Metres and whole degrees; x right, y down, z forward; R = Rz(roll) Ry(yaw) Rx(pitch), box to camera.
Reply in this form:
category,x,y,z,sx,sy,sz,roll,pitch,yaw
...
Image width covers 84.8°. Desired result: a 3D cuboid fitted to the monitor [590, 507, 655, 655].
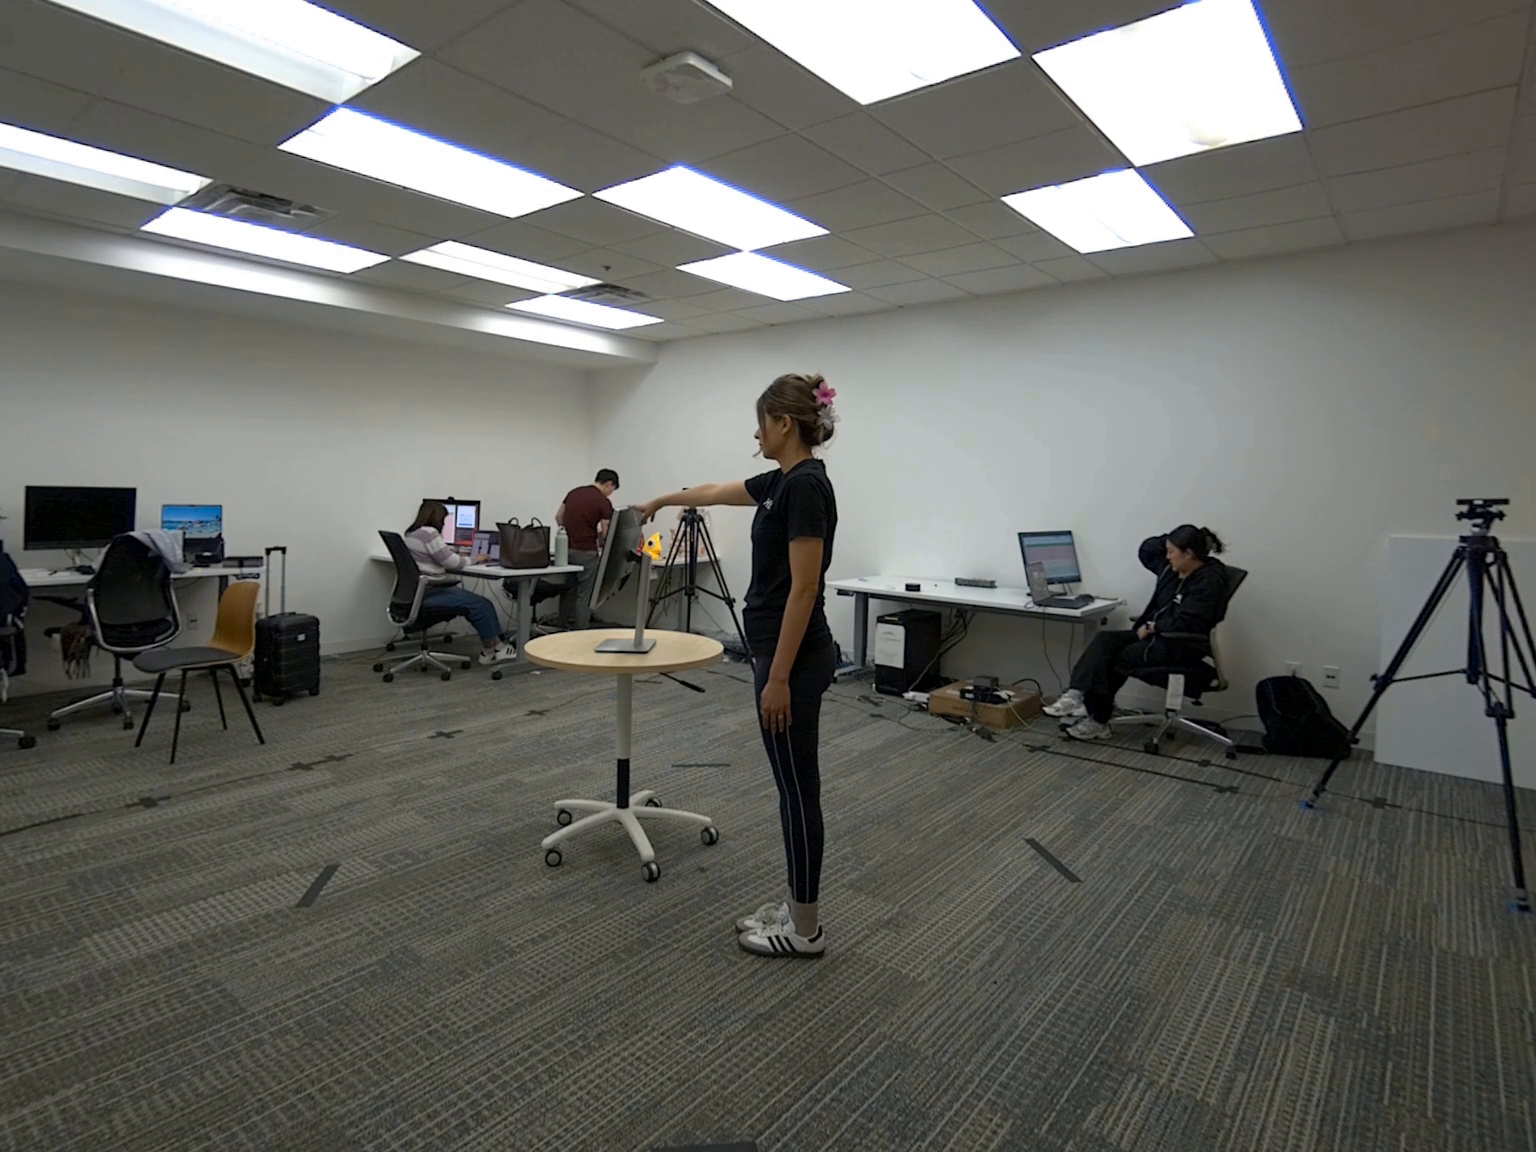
category,x,y,z,sx,sy,sz,roll,pitch,yaw
monitor,-0.543,0.009,3.244,0.187,0.520,0.541,1,5,-1
